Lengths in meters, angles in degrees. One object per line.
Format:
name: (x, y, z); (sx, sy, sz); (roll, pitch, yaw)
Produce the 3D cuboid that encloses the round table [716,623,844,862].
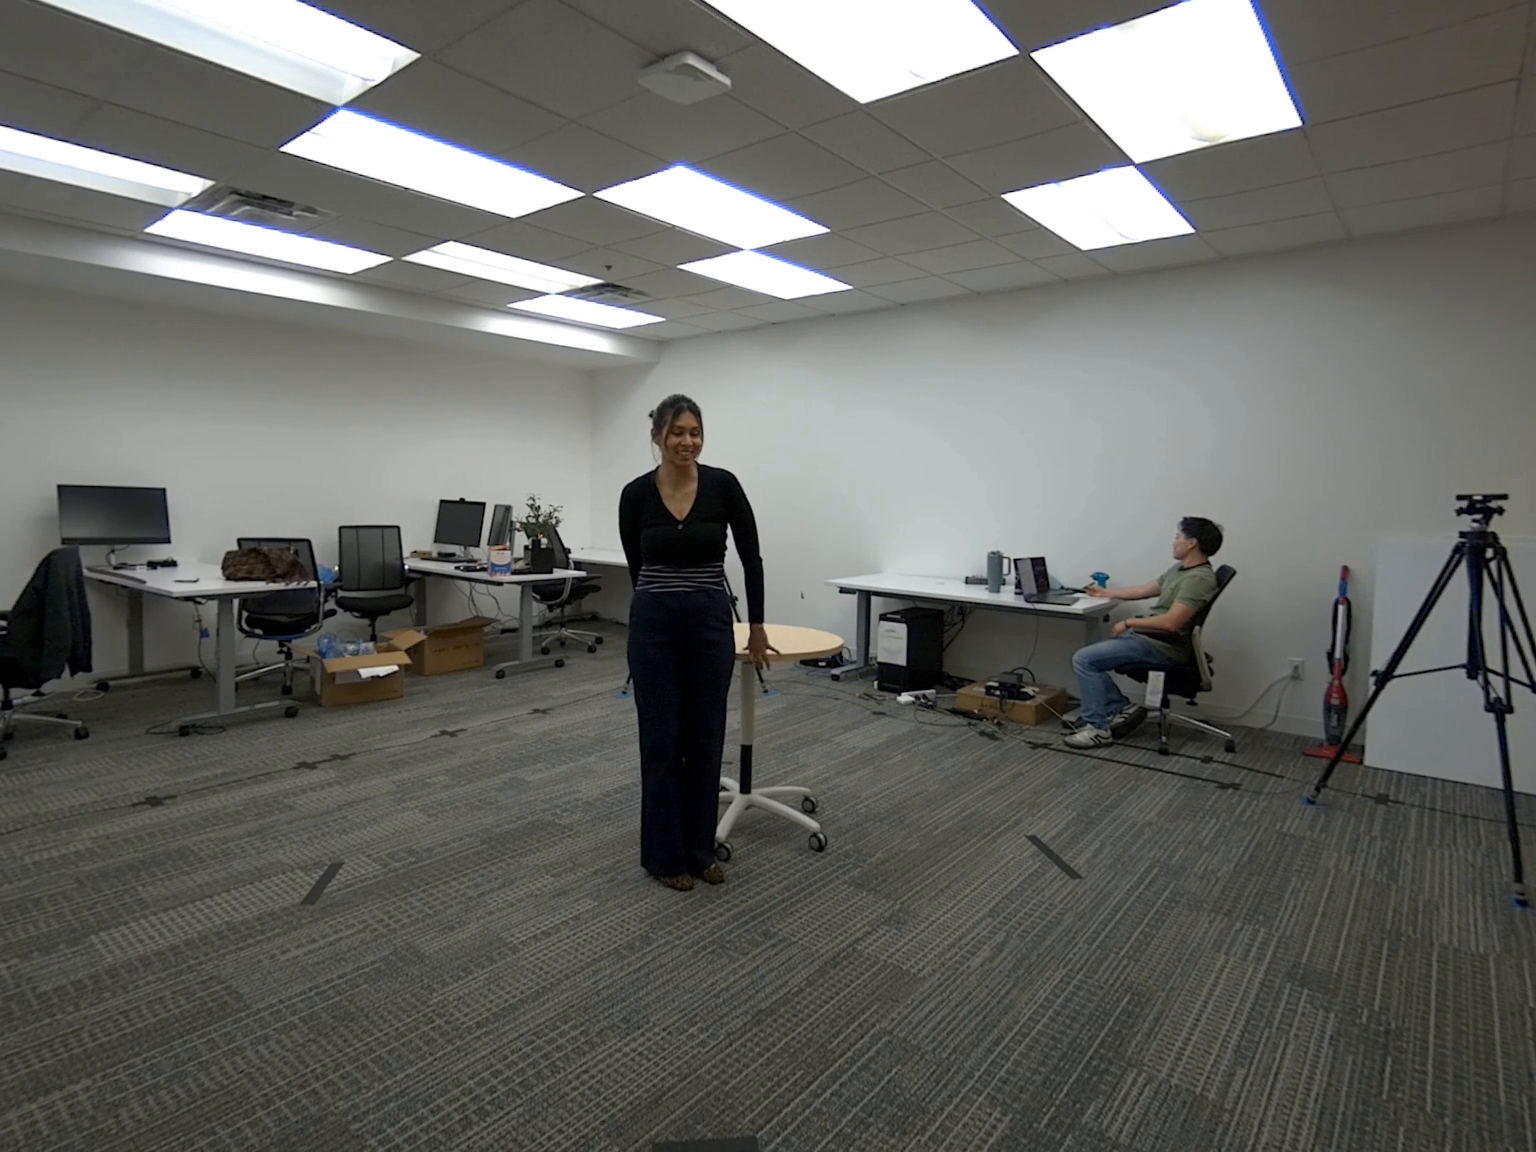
round table: (-0.096, 0.639, 3.487); (0.763, 0.792, 0.767); (1, 4, -2)
